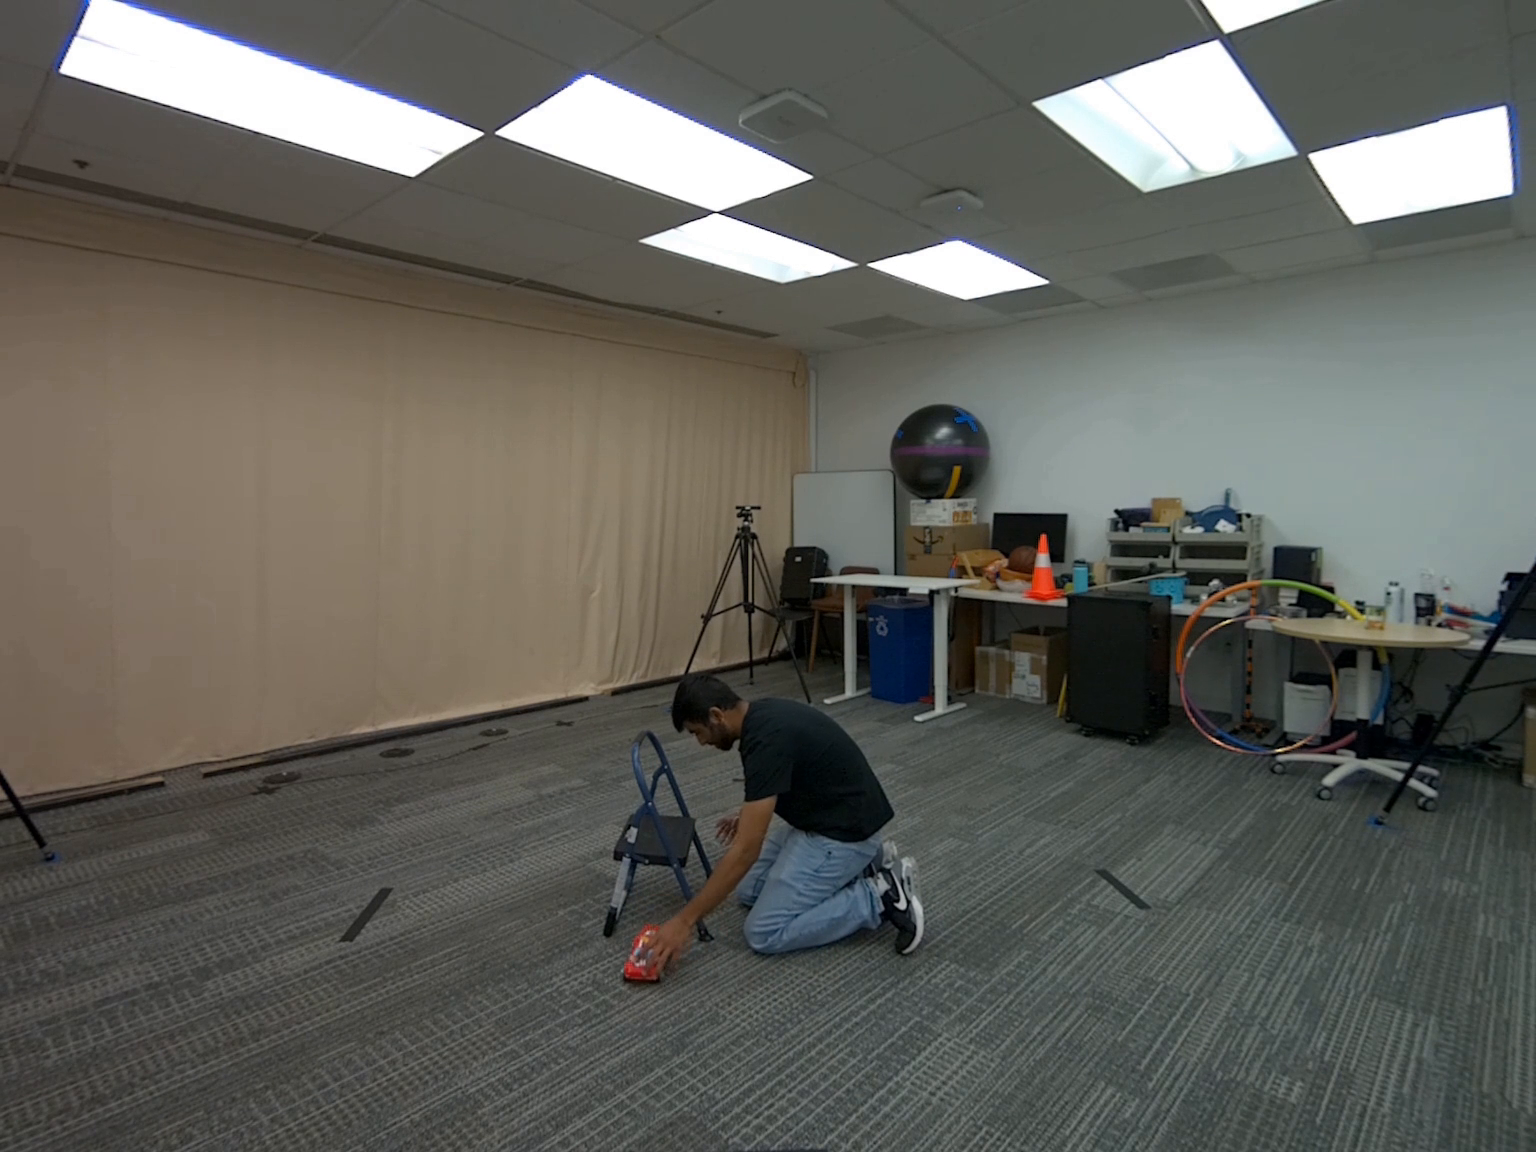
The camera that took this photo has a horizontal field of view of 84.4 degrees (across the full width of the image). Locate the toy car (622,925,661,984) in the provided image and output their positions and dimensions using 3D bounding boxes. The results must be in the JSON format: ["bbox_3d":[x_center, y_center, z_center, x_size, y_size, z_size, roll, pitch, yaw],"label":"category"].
[{"bbox_3d":[-0.356,1.146,2.594,0.131,0.082,0.255,0,17,6],"label":"toy car"}]
